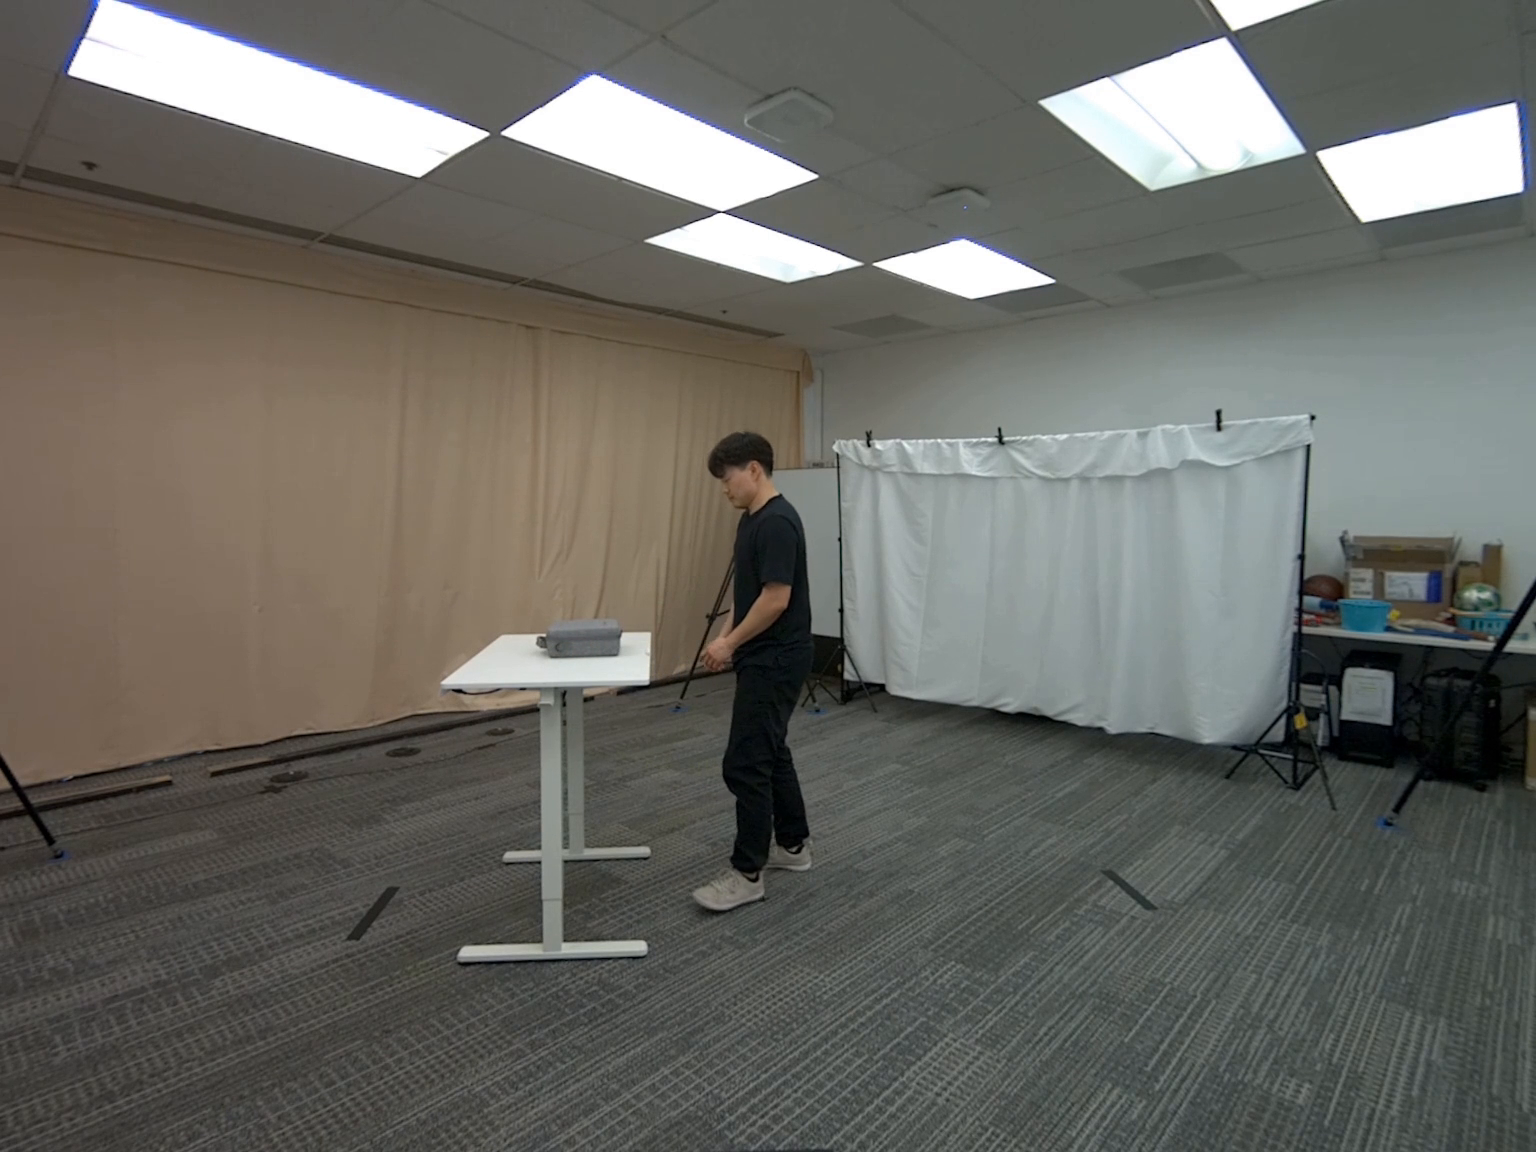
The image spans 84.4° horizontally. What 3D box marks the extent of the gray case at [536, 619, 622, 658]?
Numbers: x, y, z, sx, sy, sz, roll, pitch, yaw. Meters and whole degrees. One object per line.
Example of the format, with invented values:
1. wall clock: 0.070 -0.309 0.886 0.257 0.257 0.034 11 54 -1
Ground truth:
1. gray case: -0.657 0.216 2.985 0.258 0.104 0.260 -2 6 -10
